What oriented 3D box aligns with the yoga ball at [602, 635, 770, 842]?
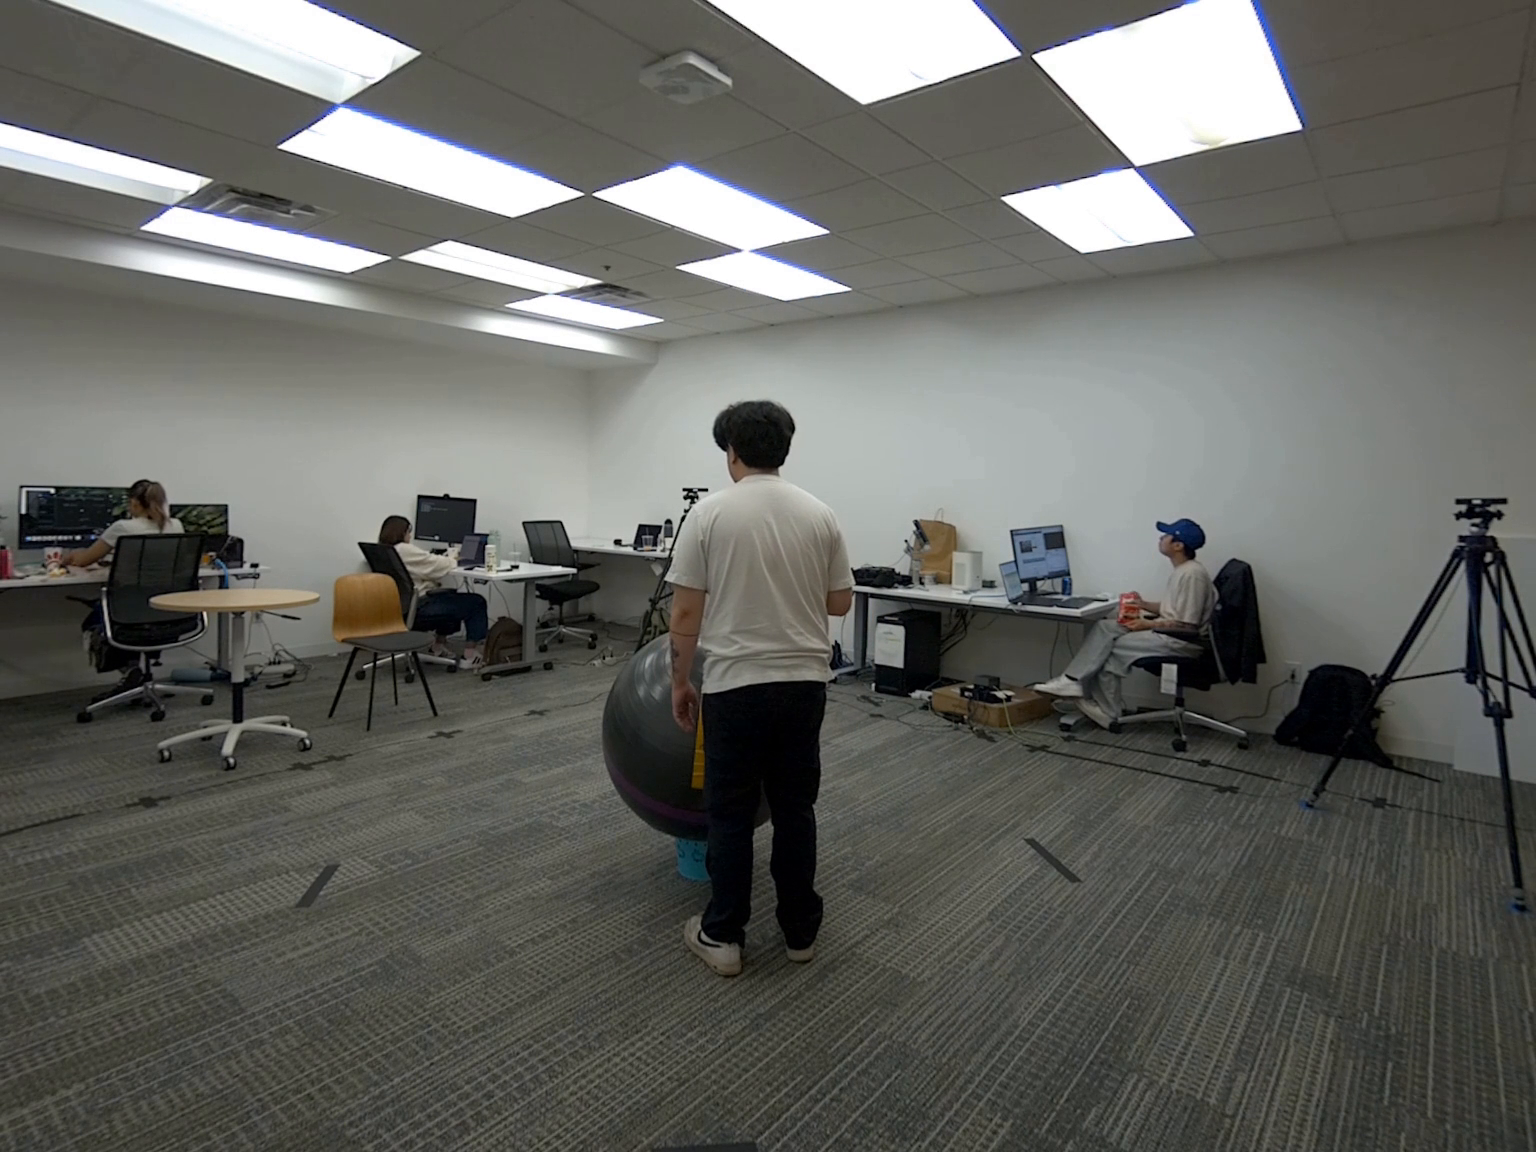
[{"bbox_3d":[-0.228,0.562,3.092,0.757,0.756,0.761,1,4,-2],"label":"yoga ball"}]
